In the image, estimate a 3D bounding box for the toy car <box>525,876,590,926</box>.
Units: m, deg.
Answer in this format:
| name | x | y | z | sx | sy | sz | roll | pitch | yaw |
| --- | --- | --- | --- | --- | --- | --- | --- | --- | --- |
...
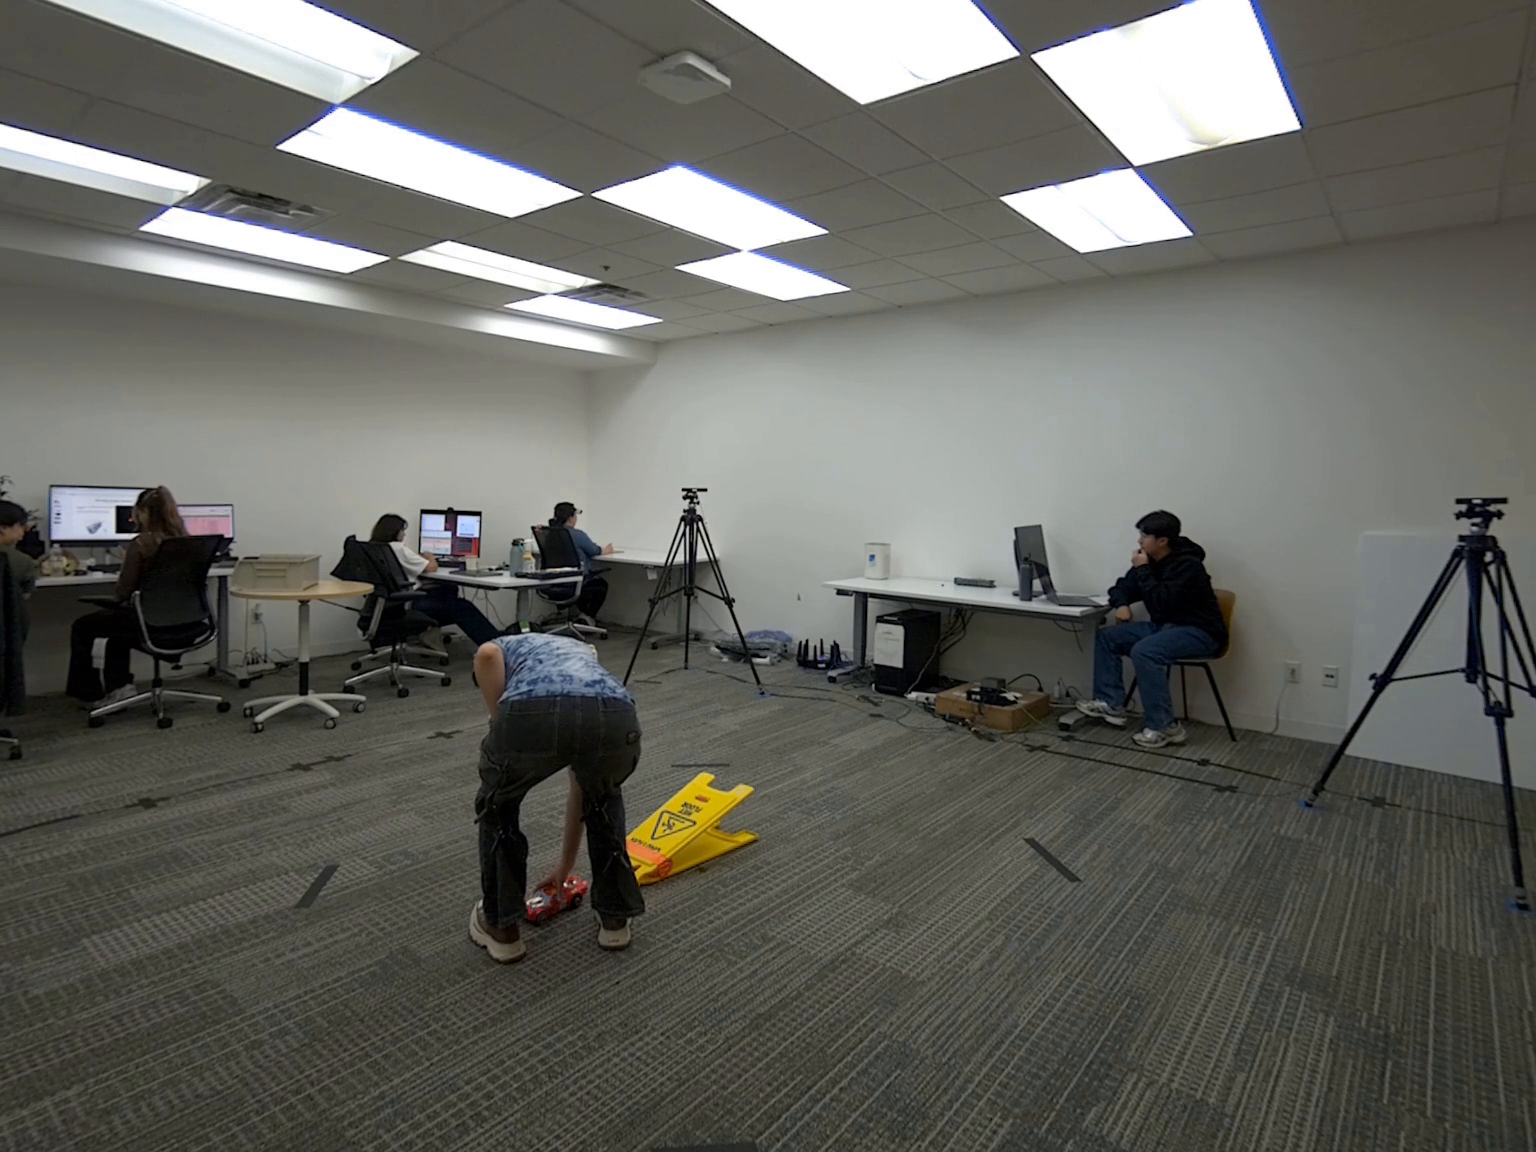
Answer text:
| name | x | y | z | sx | sy | sz | roll | pitch | yaw |
| --- | --- | --- | --- | --- | --- | --- | --- | --- | --- |
| toy car | -0.709 | 1.065 | 2.793 | 0.134 | 0.082 | 0.250 | 2 | 18 | 35 |
